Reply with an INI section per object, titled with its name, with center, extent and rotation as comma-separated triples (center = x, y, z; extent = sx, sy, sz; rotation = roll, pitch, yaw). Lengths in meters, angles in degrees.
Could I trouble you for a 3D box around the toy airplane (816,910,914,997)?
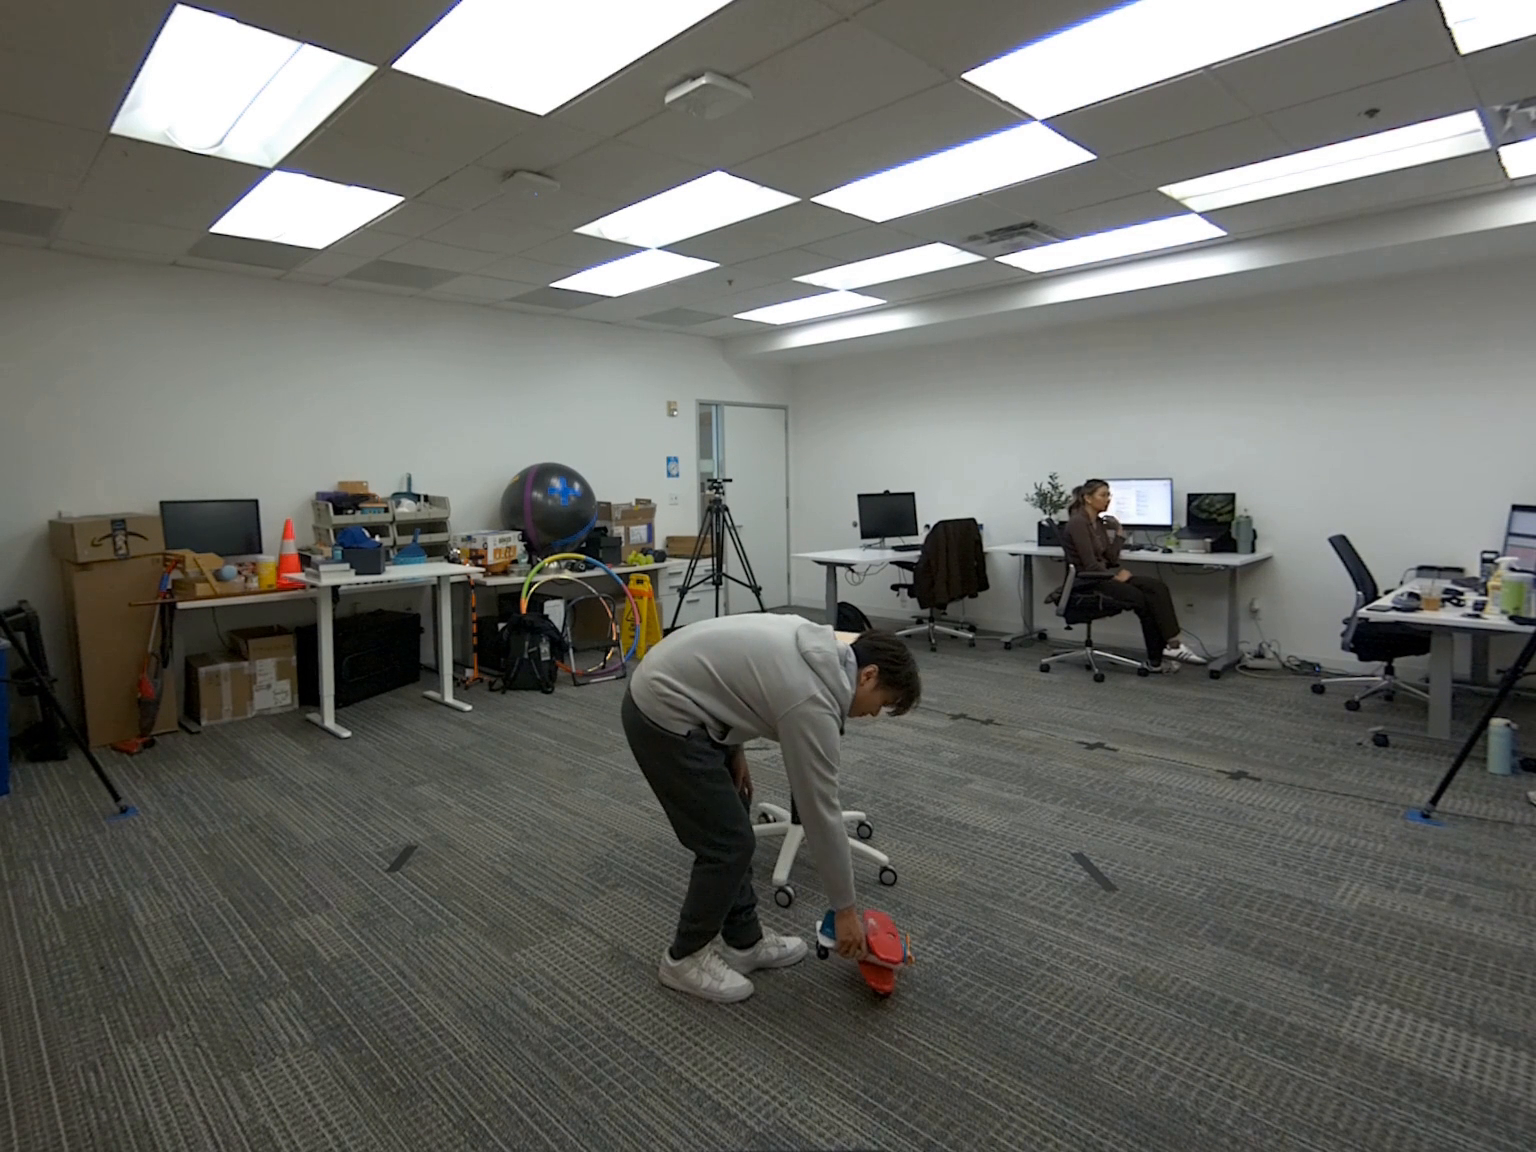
[toy airplane]
center = 0.262, 1.019, 2.314
extent = 0.251, 0.156, 0.260
rotation = 28, 5, -31
